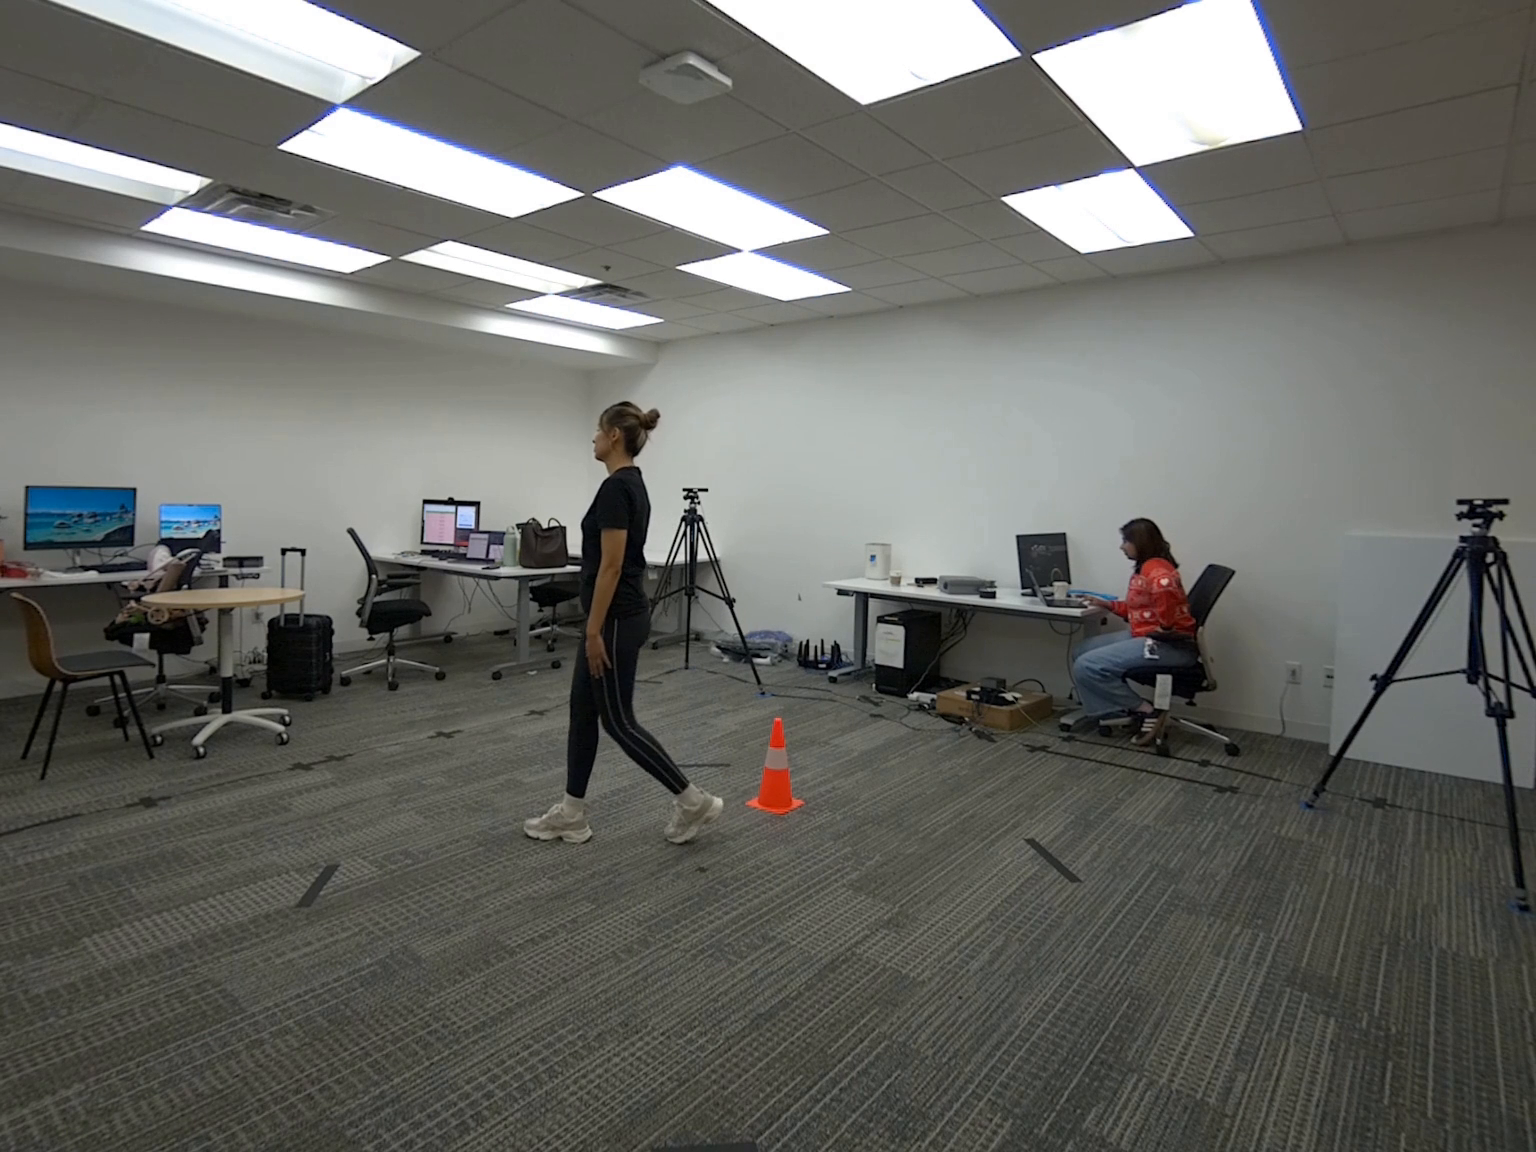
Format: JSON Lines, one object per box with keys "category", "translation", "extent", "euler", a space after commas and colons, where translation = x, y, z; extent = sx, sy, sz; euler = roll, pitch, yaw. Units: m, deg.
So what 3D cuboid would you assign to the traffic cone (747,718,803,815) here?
{"category": "traffic cone", "translation": [0.026, 0.820, 3.778], "extent": [0.212, 0.382, 0.197], "euler": [5, 6, 39]}
